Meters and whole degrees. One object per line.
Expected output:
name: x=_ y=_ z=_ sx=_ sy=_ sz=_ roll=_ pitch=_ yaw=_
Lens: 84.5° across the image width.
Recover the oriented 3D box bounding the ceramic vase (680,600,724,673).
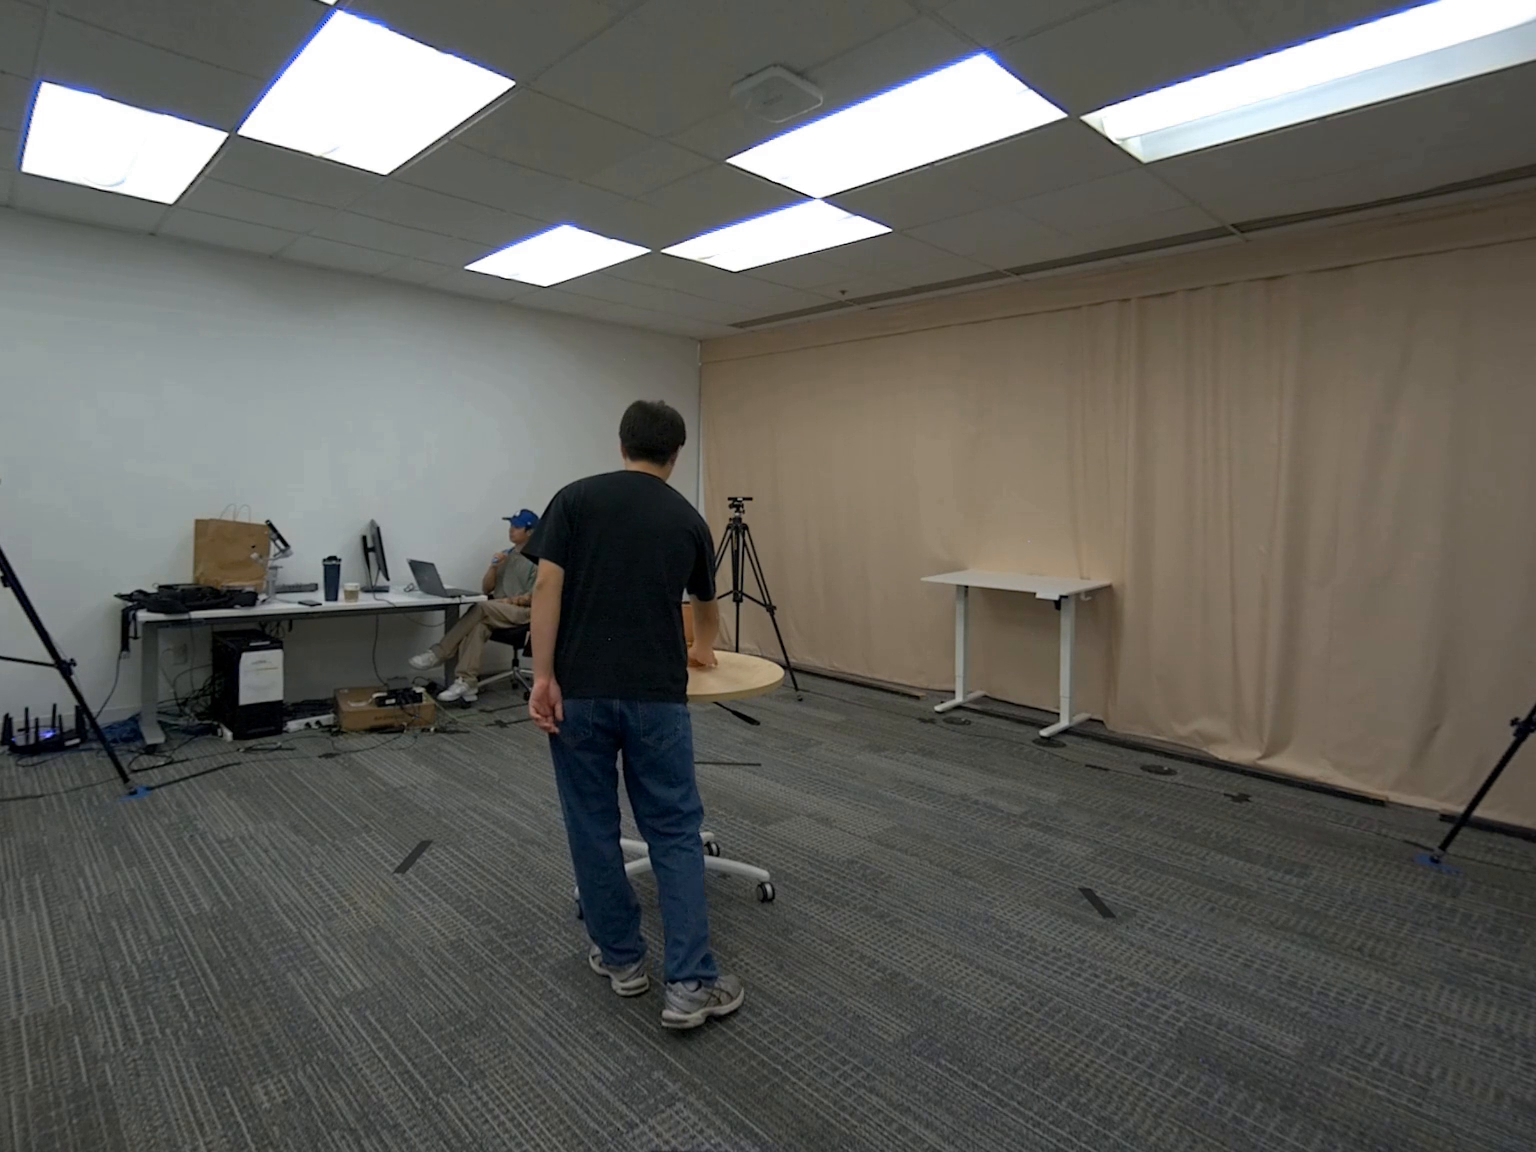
ceramic vase: x=-0.265 y=0.210 z=2.997 sx=0.137 sy=0.219 sz=0.156 roll=5 pitch=5 yaw=30
